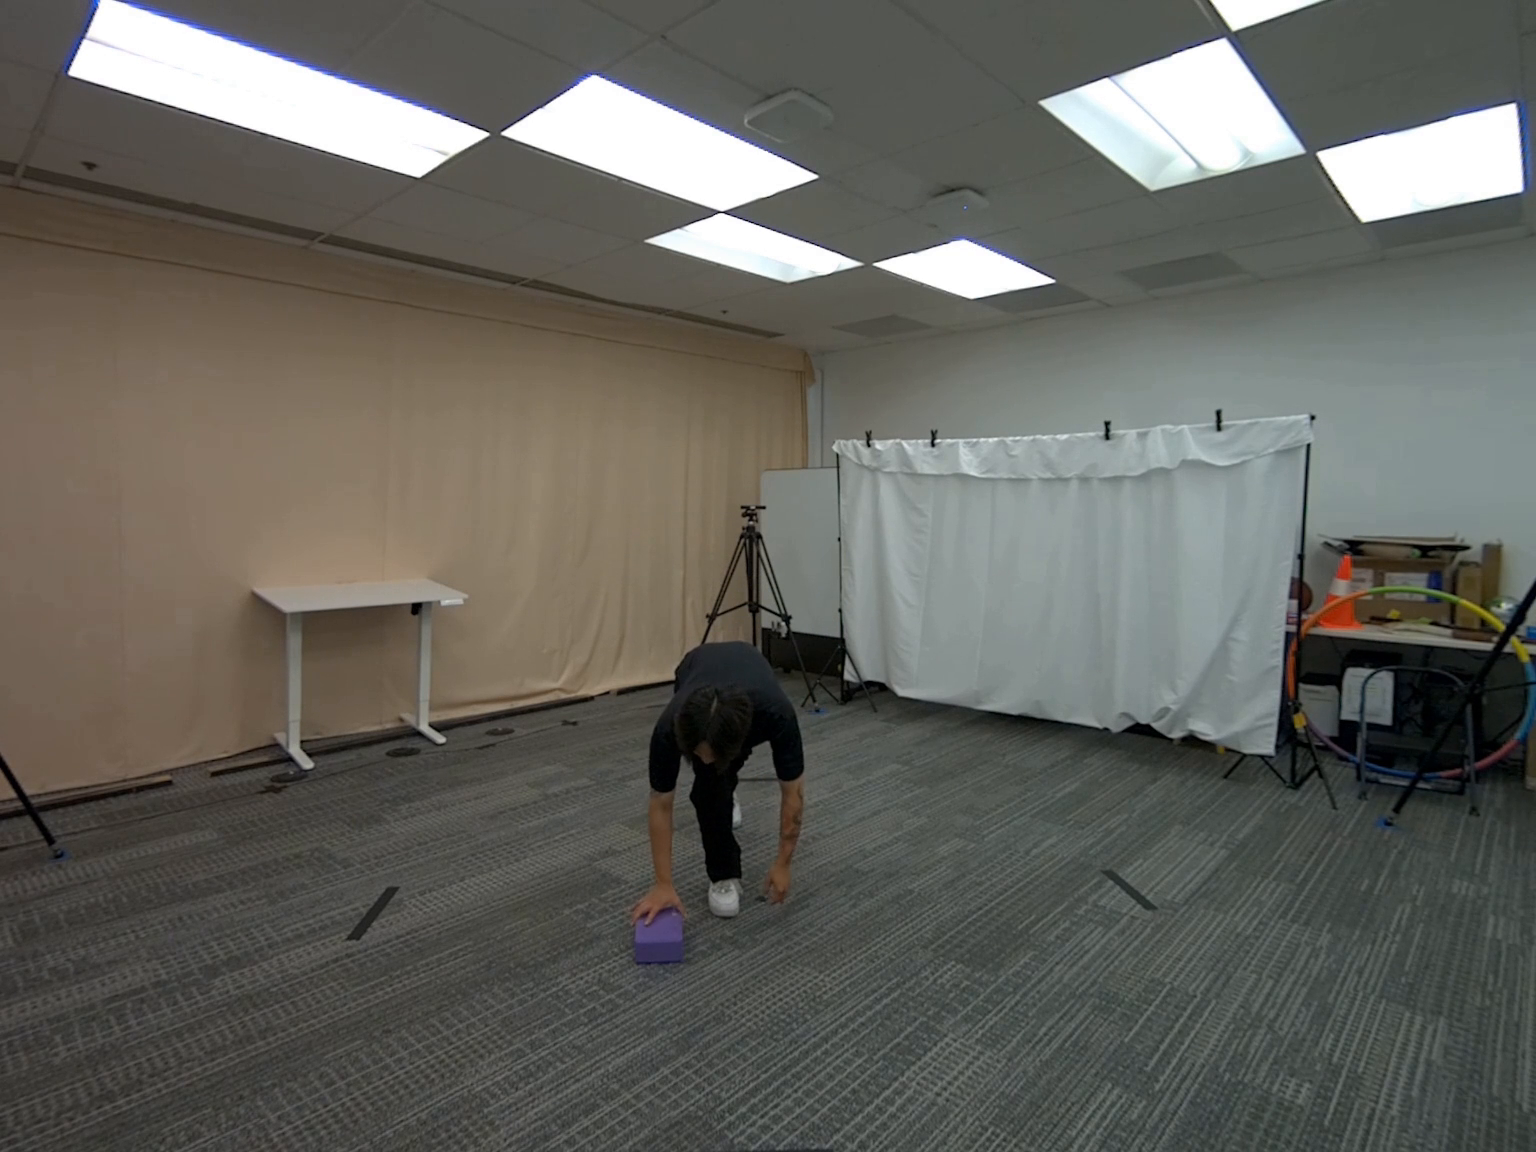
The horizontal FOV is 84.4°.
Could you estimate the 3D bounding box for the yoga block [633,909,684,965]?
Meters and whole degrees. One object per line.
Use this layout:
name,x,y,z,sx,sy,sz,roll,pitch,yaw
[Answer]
yoga block,-0.344,1.133,2.663,0.148,0.076,0.231,-2,5,-7
